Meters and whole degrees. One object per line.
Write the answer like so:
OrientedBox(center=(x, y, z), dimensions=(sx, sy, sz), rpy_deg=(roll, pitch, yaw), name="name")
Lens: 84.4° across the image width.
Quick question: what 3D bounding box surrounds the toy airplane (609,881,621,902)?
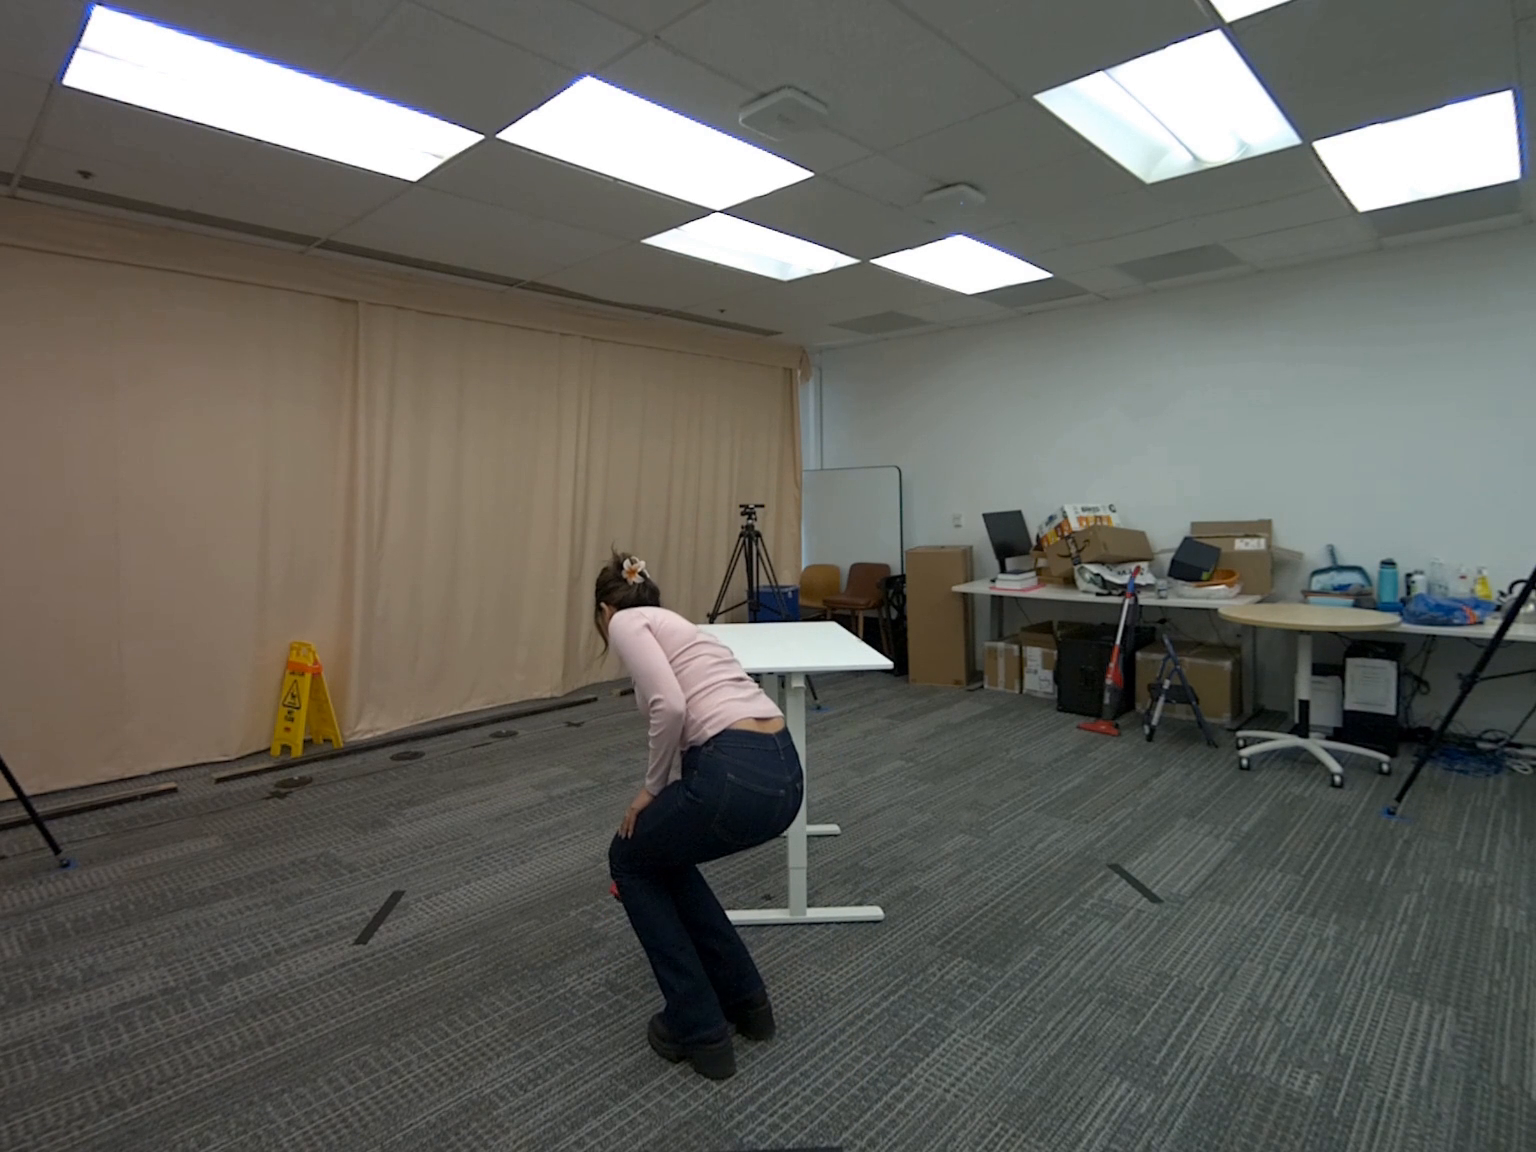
OrientedBox(center=(-0.351, 0.924, 2.592), dimensions=(0.259, 0.156, 0.251), rpy_deg=(-2, 2, -1), name="toy airplane")
